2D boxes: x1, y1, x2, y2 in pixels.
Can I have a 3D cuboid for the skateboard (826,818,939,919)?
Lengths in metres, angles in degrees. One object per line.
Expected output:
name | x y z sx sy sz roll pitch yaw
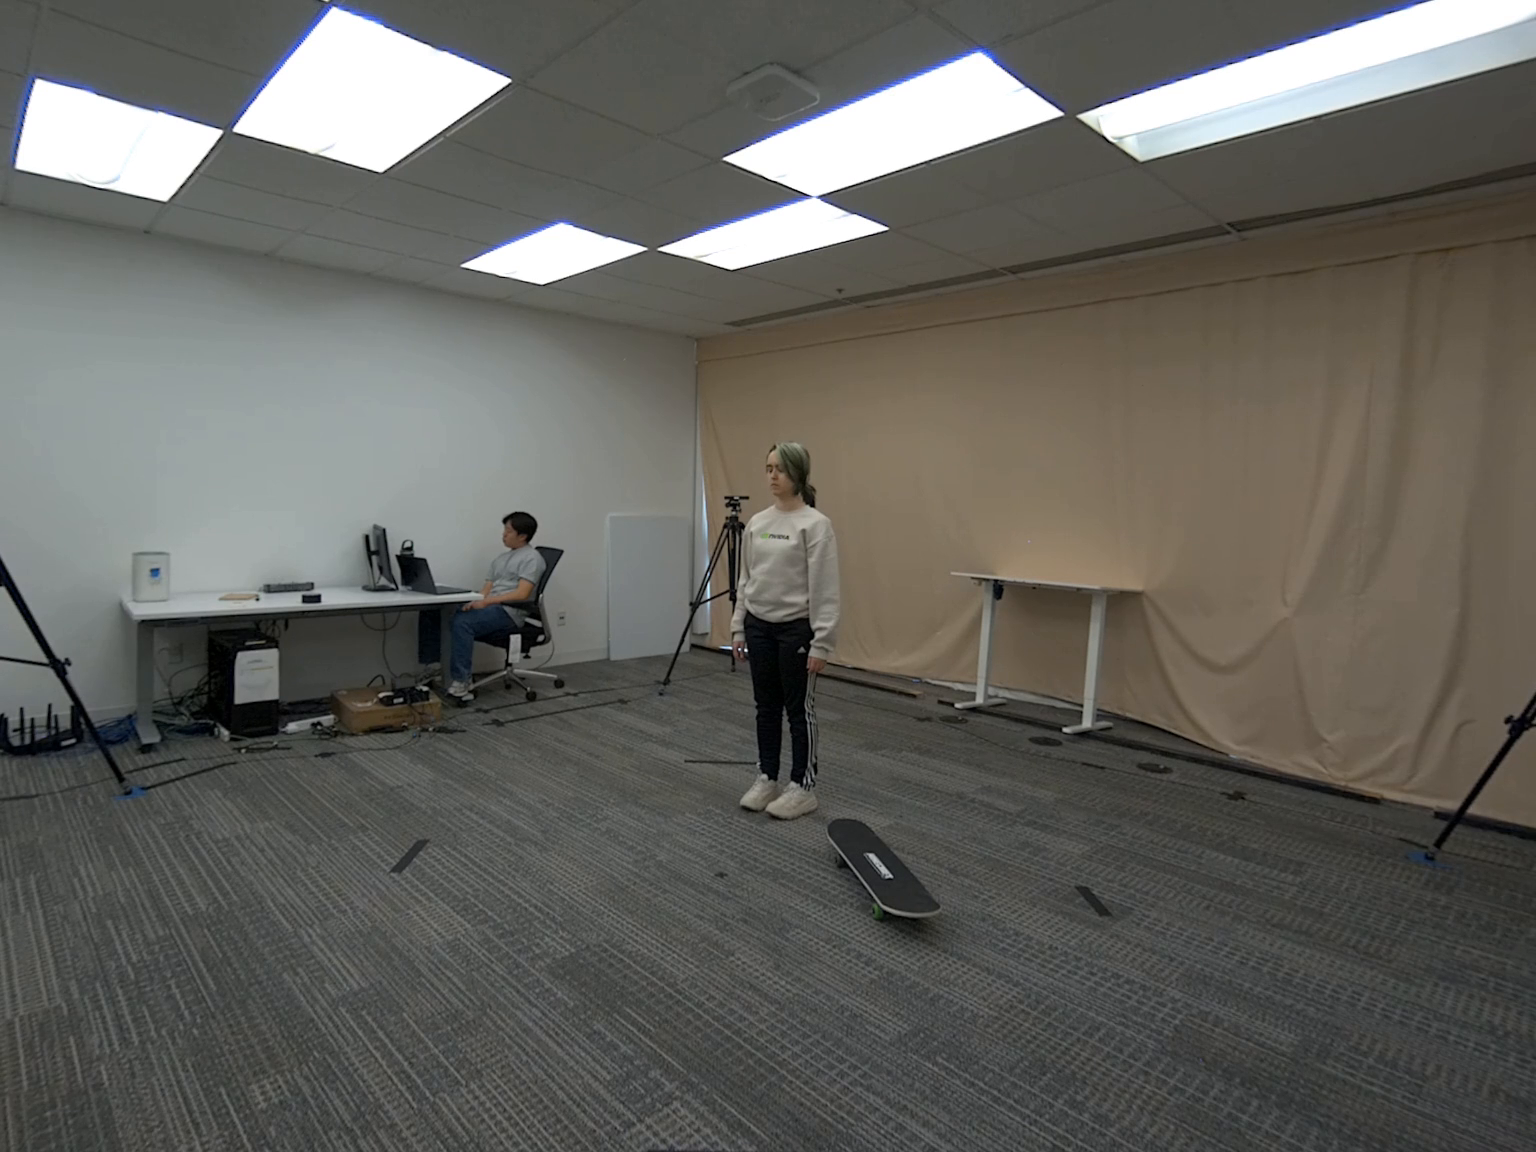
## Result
skateboard | 0.389 1.069 3.015 0.191 0.110 0.795 -1 6 -13
